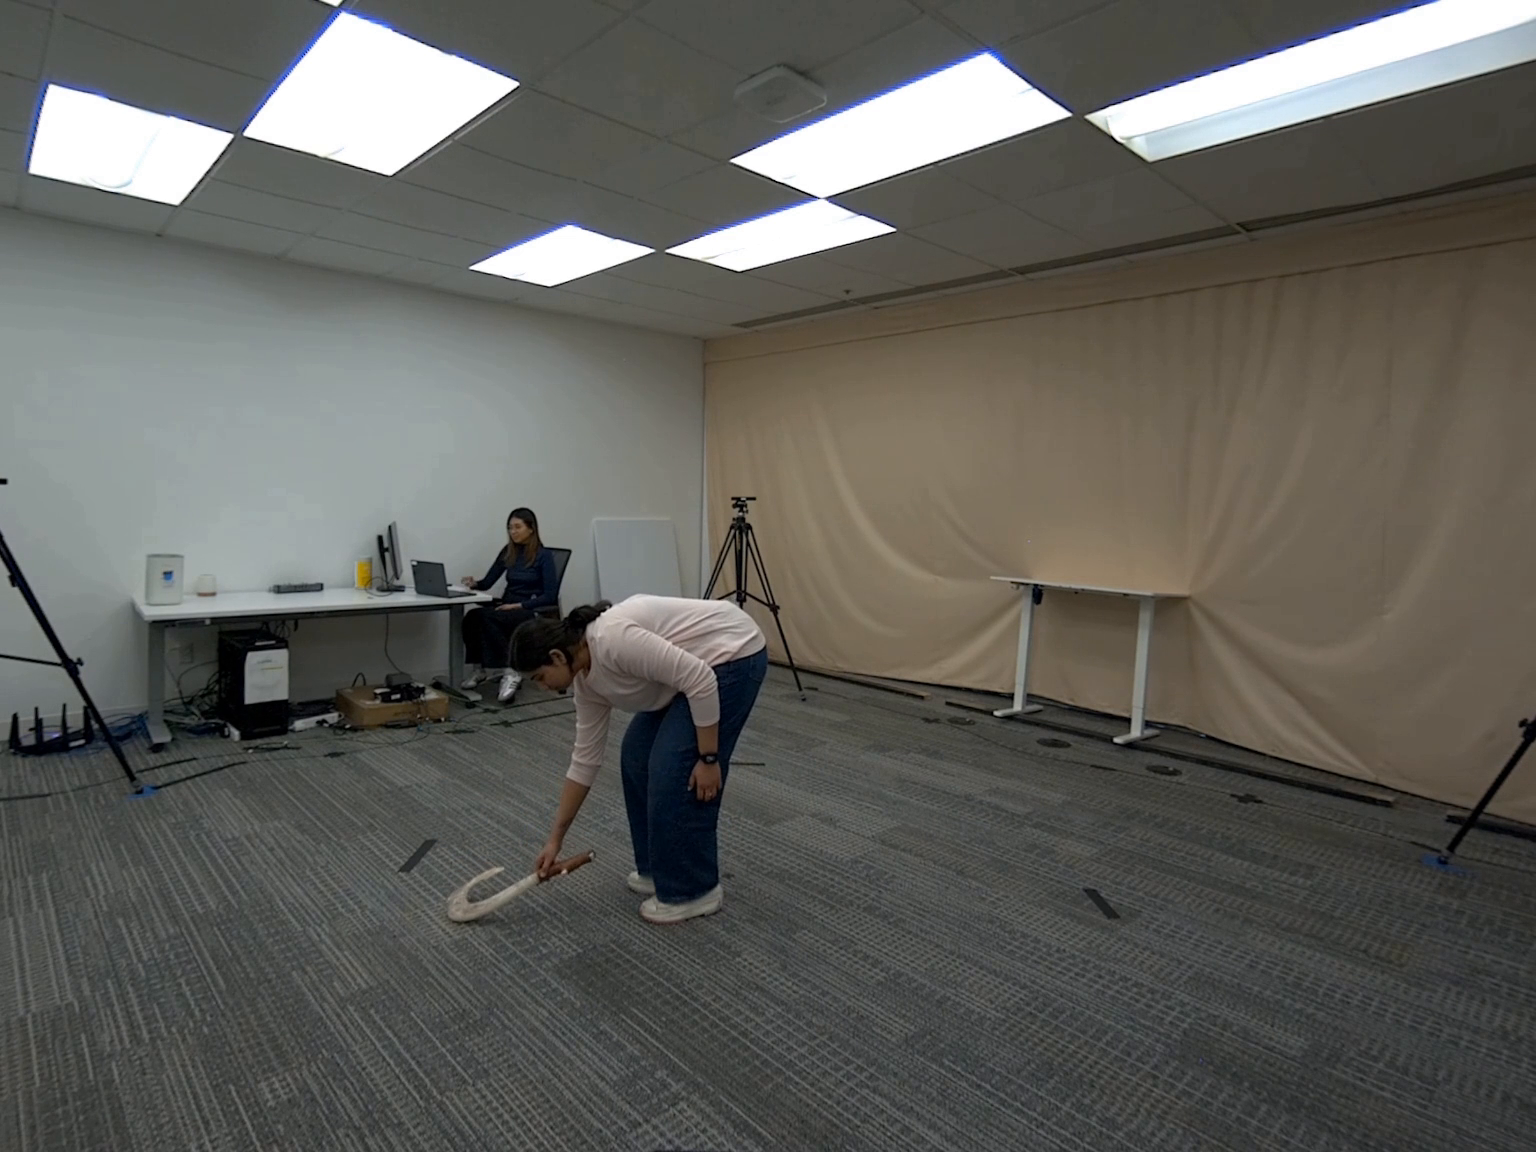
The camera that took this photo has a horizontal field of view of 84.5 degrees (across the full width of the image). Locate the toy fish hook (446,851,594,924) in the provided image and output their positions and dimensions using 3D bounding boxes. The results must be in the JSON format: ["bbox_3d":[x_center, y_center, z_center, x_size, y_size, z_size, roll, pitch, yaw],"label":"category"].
[{"bbox_3d":[-0.832,1.011,2.836,0.503,0.047,0.230,-20,22,-12],"label":"toy fish hook"}]
